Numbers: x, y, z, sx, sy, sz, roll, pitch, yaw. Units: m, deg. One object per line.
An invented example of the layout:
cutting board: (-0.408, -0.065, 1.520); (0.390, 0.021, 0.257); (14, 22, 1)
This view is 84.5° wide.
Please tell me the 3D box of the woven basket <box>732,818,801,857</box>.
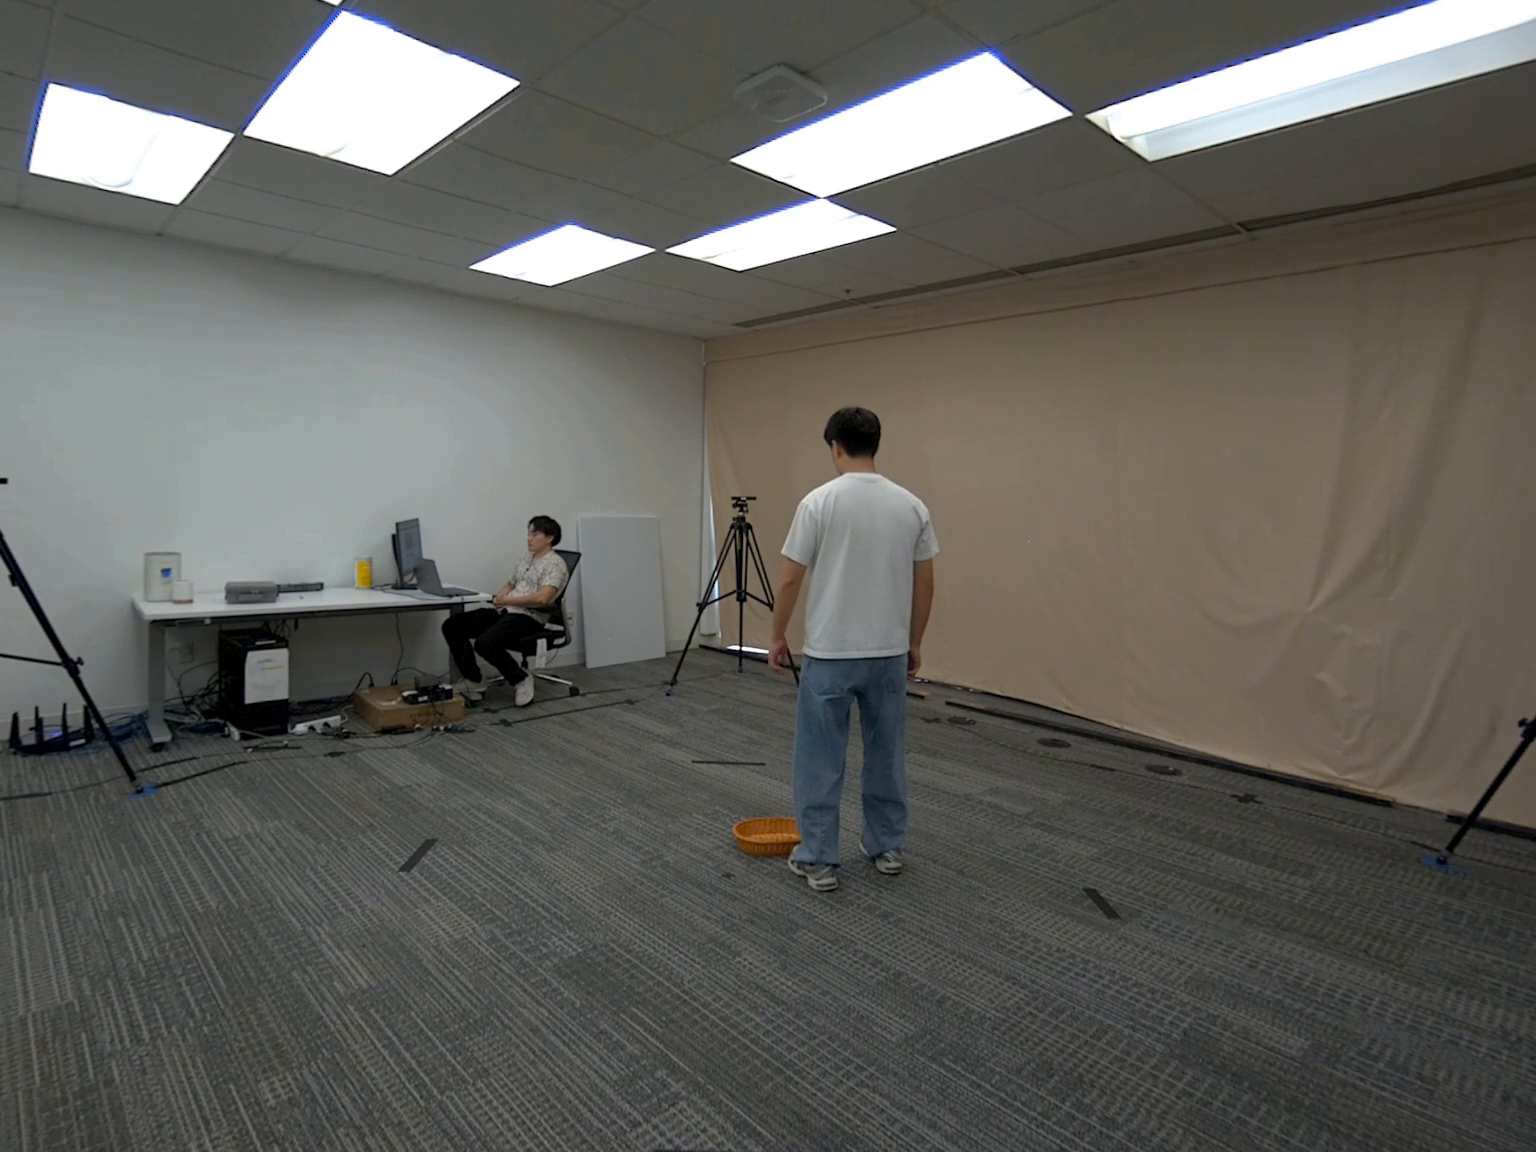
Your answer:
woven basket: (0.021, 1.040, 3.378); (0.348, 0.073, 0.255); (0, 6, -8)
